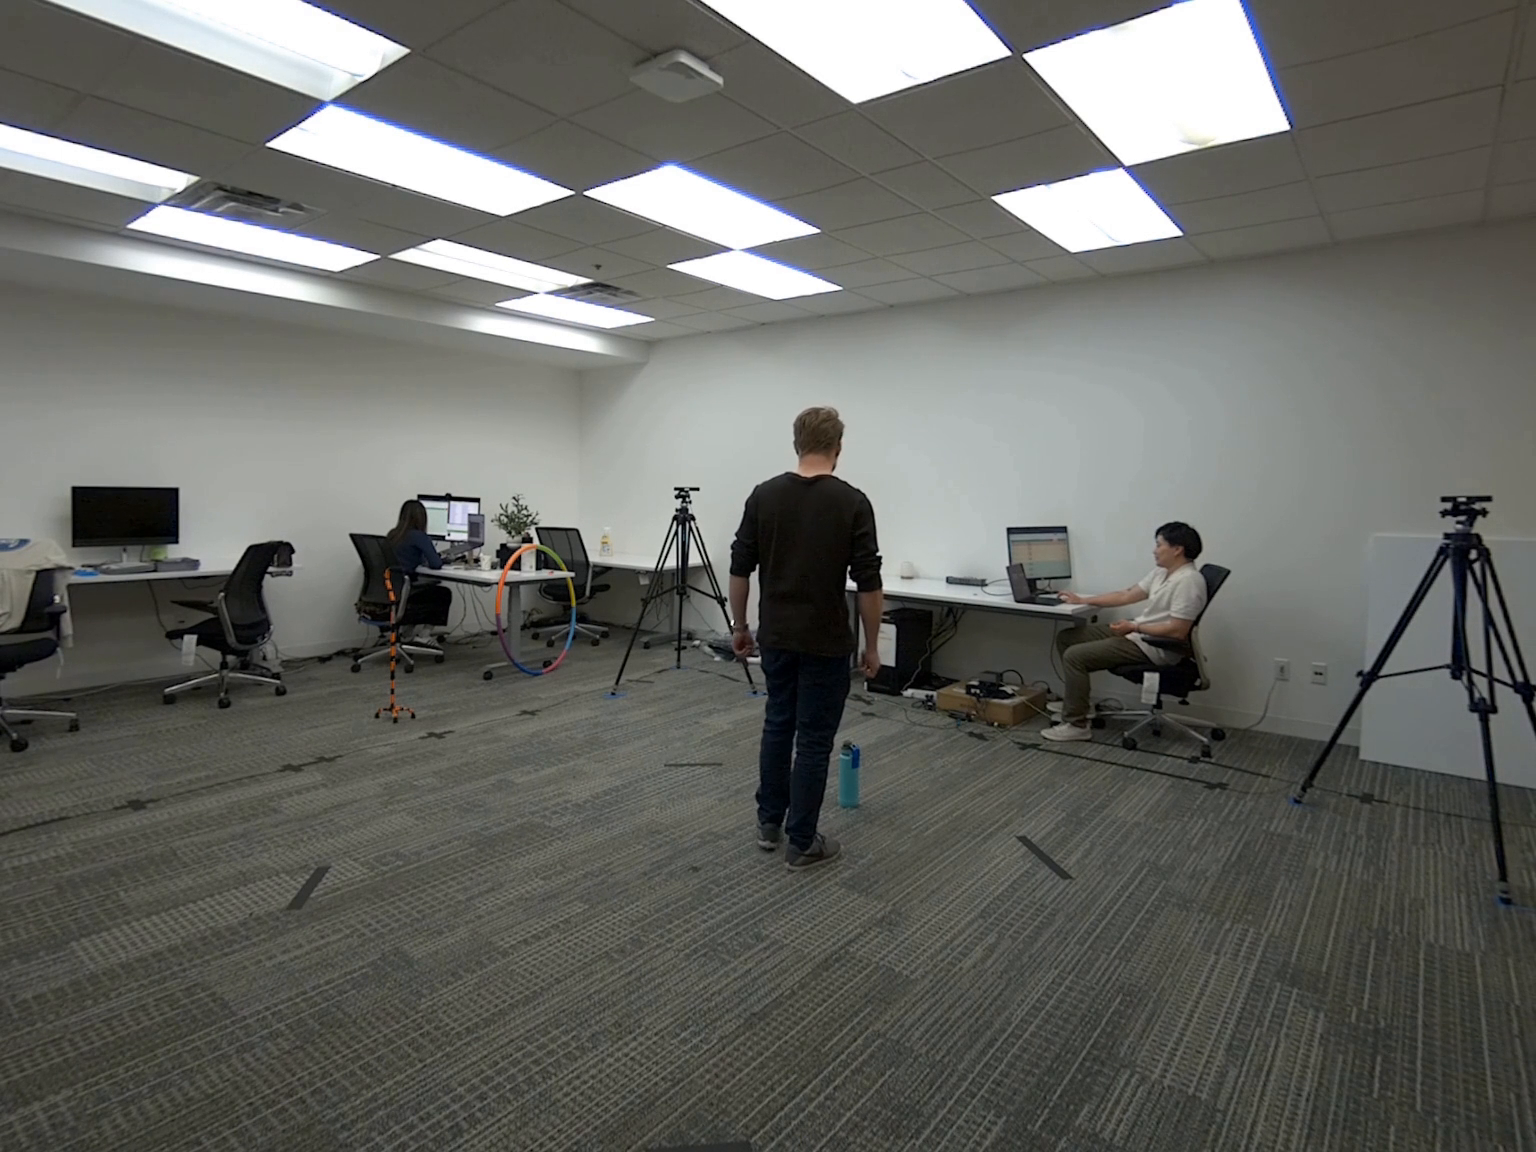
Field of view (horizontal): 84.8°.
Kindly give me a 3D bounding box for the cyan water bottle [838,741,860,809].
[{"bbox_3d":[0.354,0.871,3.780,0.092,0.282,0.093,1,4,-2],"label":"cyan water bottle"}]
